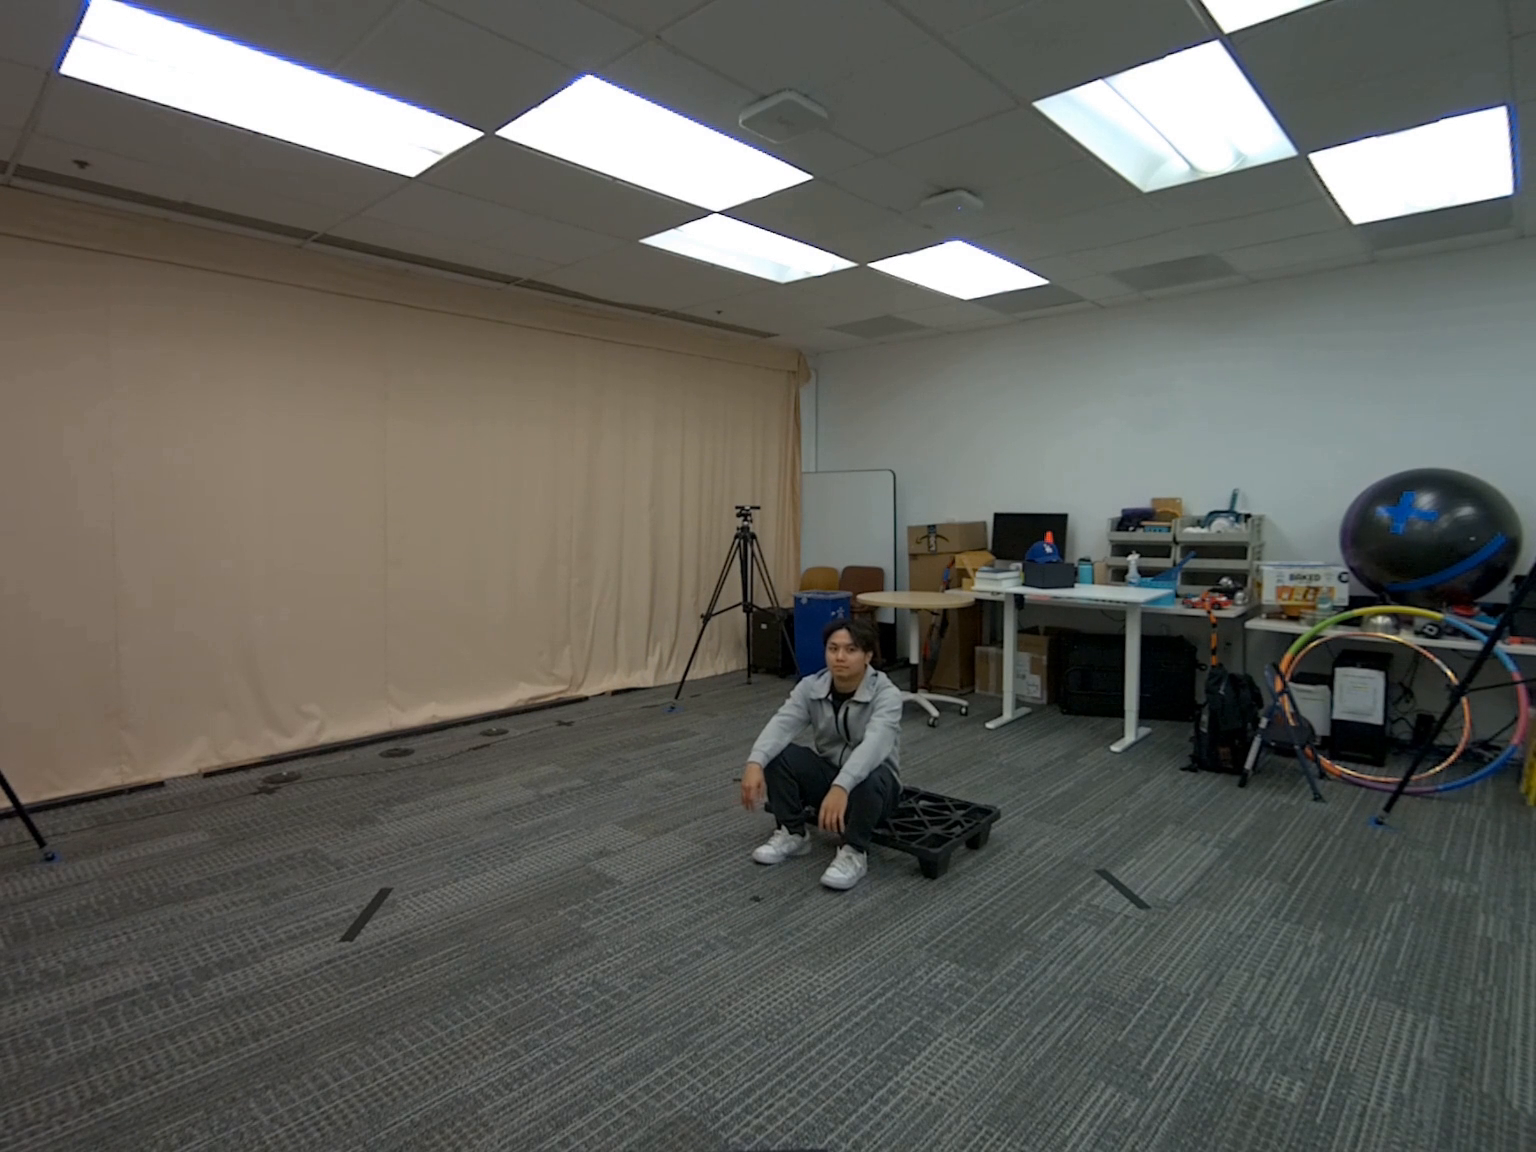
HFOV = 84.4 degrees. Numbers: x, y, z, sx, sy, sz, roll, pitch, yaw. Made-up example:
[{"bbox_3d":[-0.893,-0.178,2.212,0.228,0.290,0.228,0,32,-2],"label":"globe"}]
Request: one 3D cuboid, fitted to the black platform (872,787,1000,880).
[{"bbox_3d":[0.475,1.031,3.532,0.832,0.143,0.587,4,7,39],"label":"black platform"}]
